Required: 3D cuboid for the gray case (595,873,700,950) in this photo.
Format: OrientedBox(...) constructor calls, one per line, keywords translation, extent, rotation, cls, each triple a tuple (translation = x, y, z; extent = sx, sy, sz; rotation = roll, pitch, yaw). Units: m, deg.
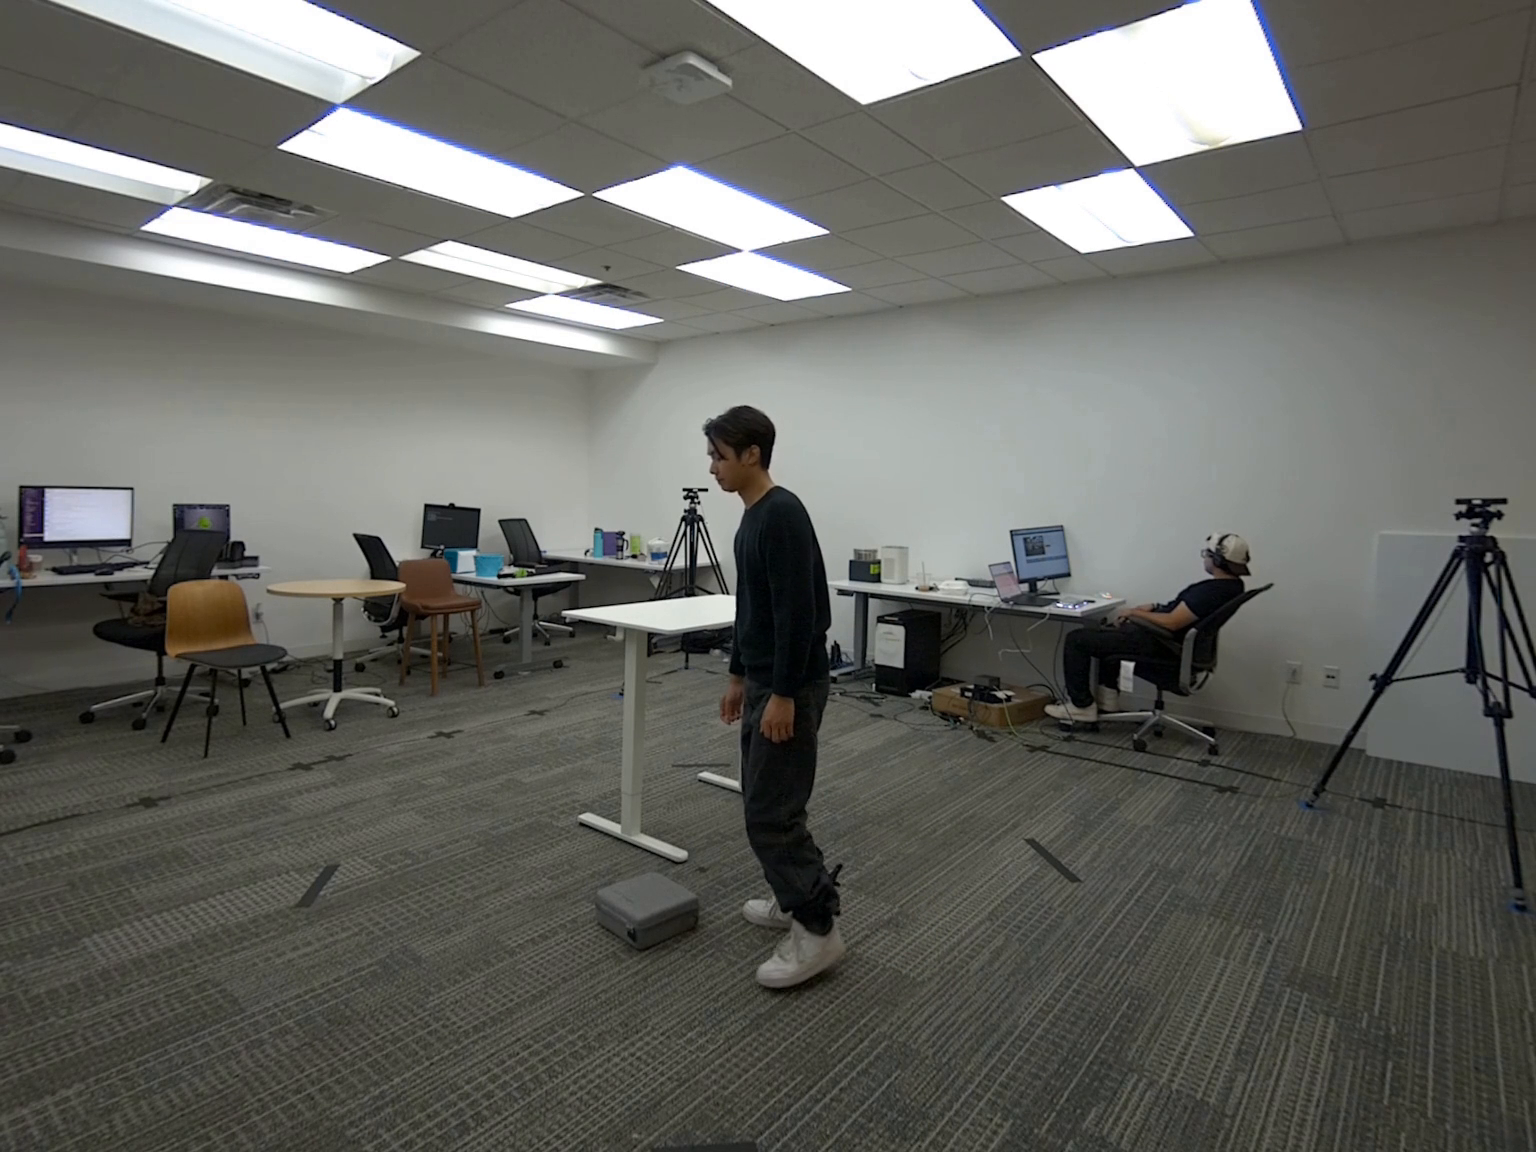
OrientedBox(translation=(-0.386, 1.046, 2.703), extent=(0.265, 0.104, 0.253), rotation=(3, 5, 44), cls="gray case")
